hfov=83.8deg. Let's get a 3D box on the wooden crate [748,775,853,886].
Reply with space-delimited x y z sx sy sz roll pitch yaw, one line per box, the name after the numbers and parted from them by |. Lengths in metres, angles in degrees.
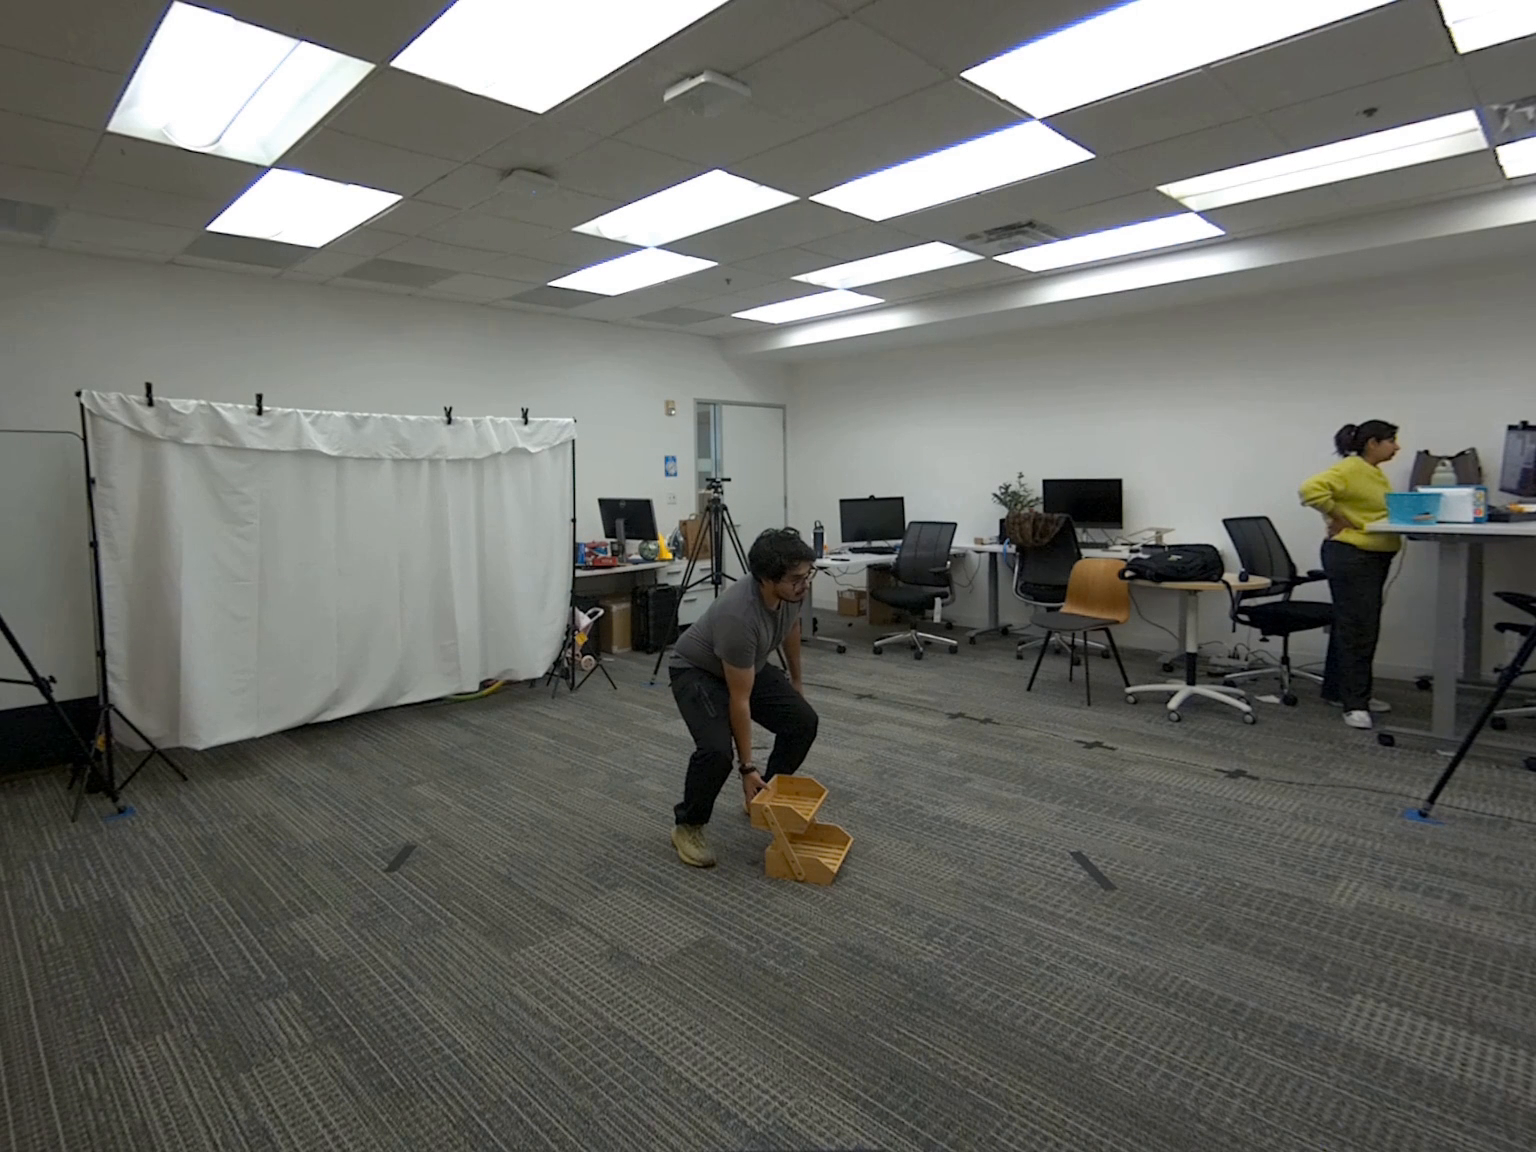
0.132 0.904 3.100 0.307 0.272 0.320 -1 5 19 | wooden crate
